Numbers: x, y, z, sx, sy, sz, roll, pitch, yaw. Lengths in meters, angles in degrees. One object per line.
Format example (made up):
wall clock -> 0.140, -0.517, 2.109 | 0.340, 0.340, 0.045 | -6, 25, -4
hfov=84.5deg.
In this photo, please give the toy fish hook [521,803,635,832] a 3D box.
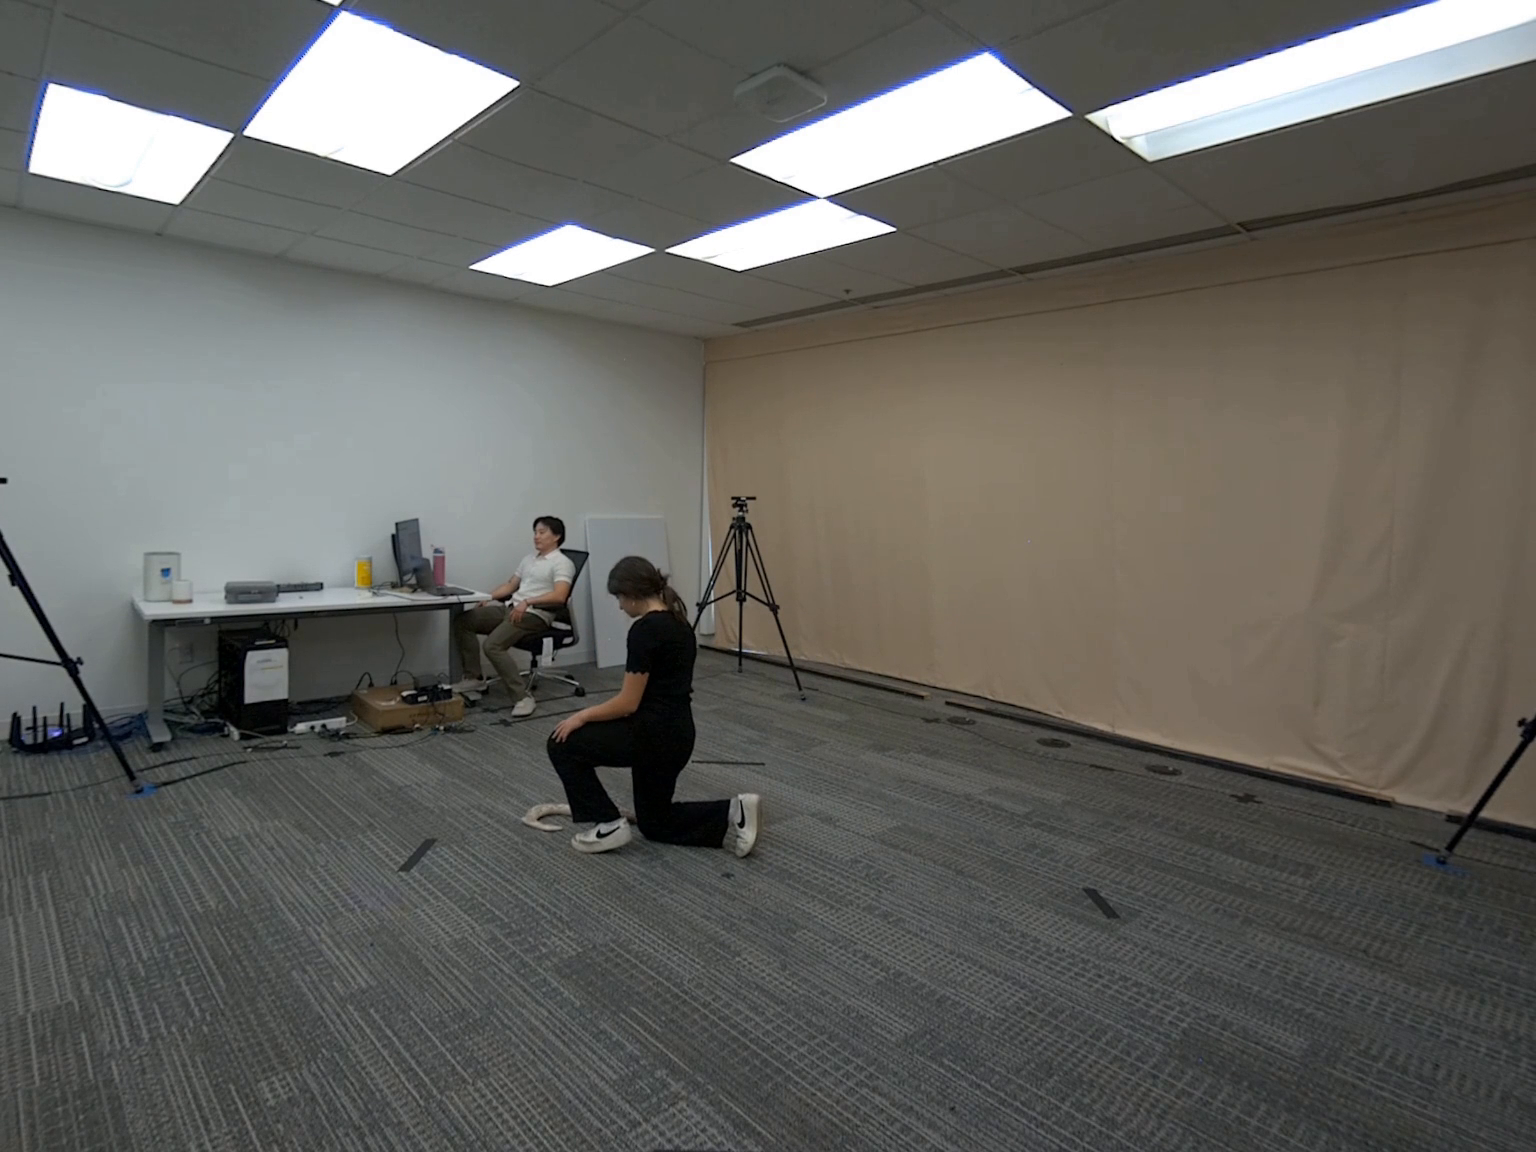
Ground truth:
toy fish hook -> -0.784, 1.026, 3.559 | 0.510, 0.048, 0.225 | 1, 11, 8
